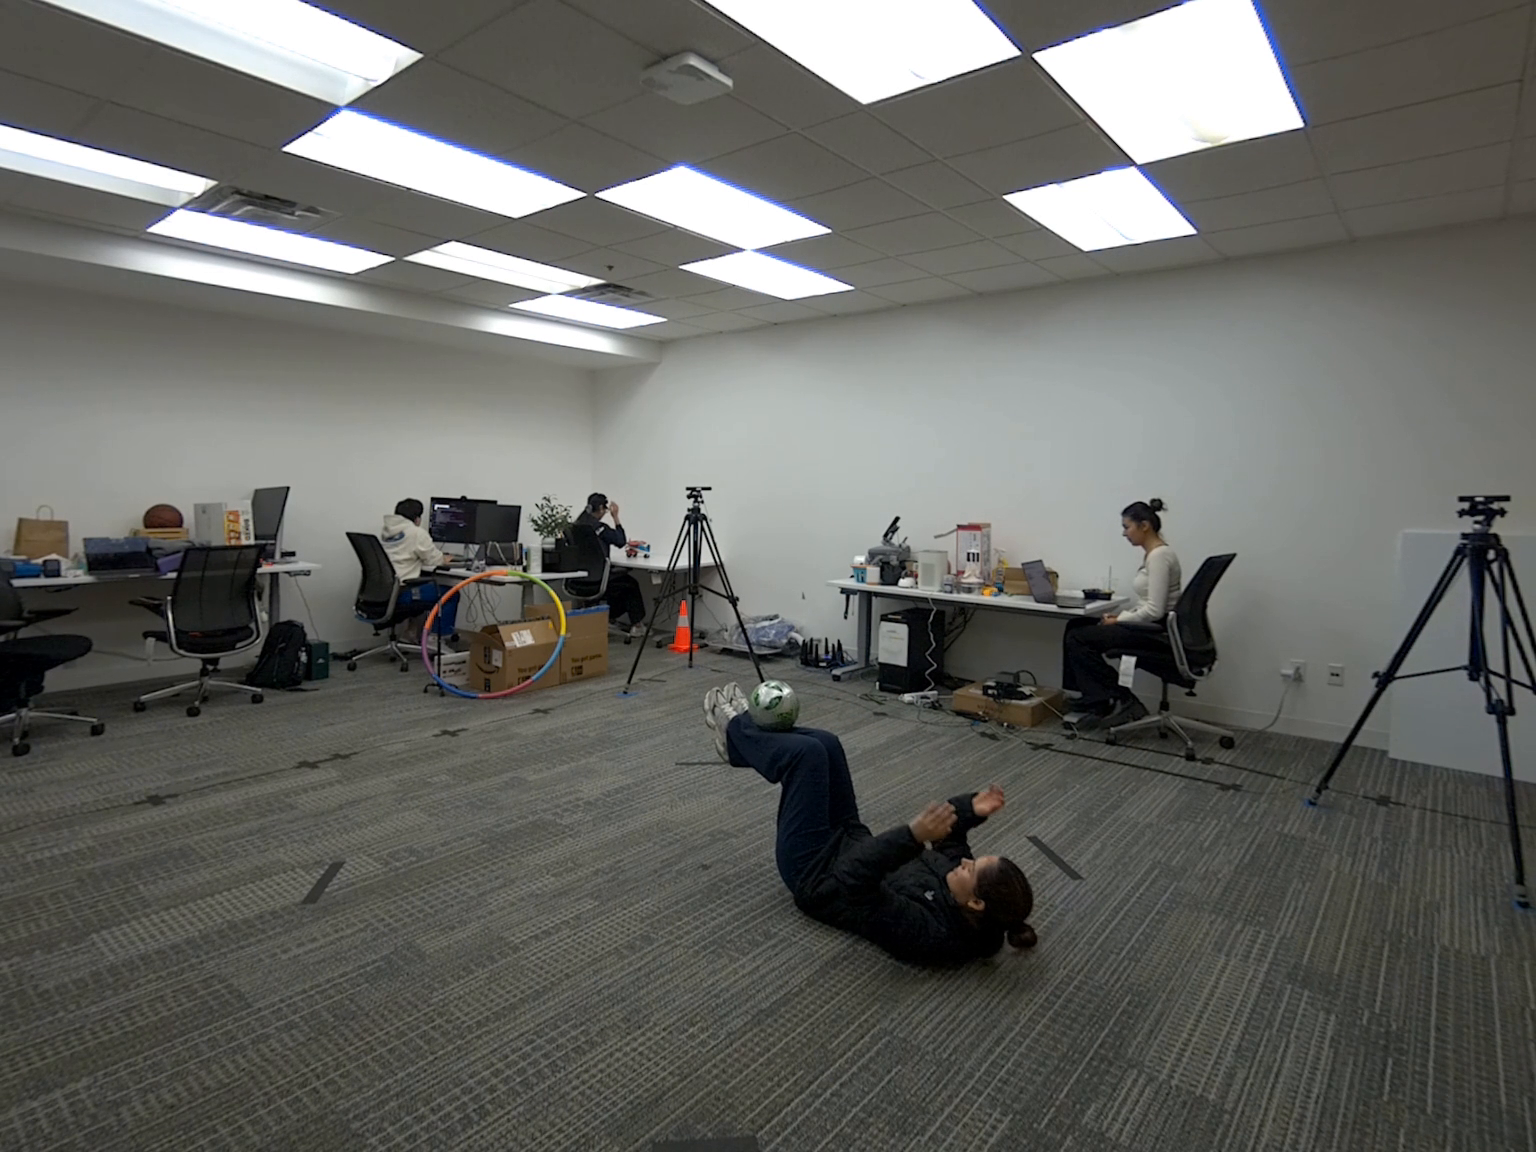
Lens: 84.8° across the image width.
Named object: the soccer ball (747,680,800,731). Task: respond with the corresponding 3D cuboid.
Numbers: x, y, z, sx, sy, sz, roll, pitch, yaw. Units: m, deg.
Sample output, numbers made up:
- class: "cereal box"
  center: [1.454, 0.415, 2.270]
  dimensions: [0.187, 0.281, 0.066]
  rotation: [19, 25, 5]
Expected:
- class: "soccer ball"
  center: [0.011, 0.472, 3.079]
  dimensions: [0.187, 0.187, 0.188]
  rotation: [-3, 3, -2]
